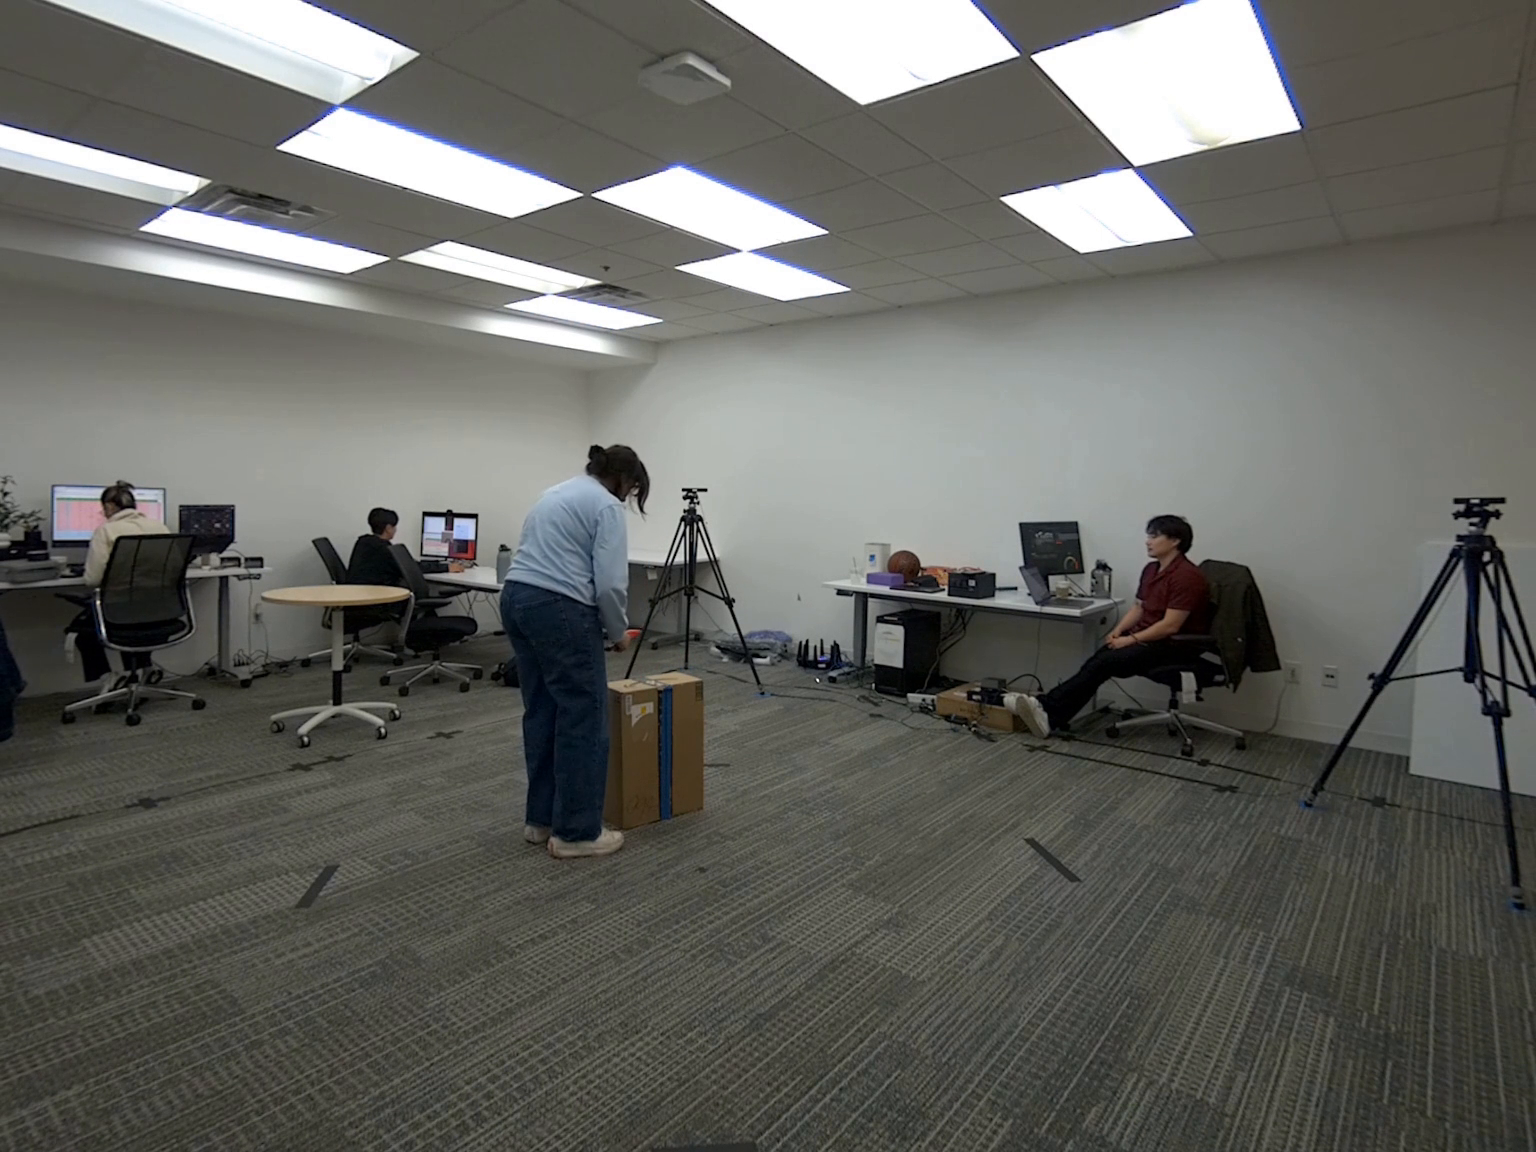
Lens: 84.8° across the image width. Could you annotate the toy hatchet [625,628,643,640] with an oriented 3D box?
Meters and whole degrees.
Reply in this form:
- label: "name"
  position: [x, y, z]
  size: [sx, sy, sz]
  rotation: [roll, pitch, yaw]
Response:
- label: "toy hatchet"
  position: [-0.663, 0.280, 3.445]
  size: [0.133, 0.029, 0.267]
  rotation: [-8, 10, 21]
